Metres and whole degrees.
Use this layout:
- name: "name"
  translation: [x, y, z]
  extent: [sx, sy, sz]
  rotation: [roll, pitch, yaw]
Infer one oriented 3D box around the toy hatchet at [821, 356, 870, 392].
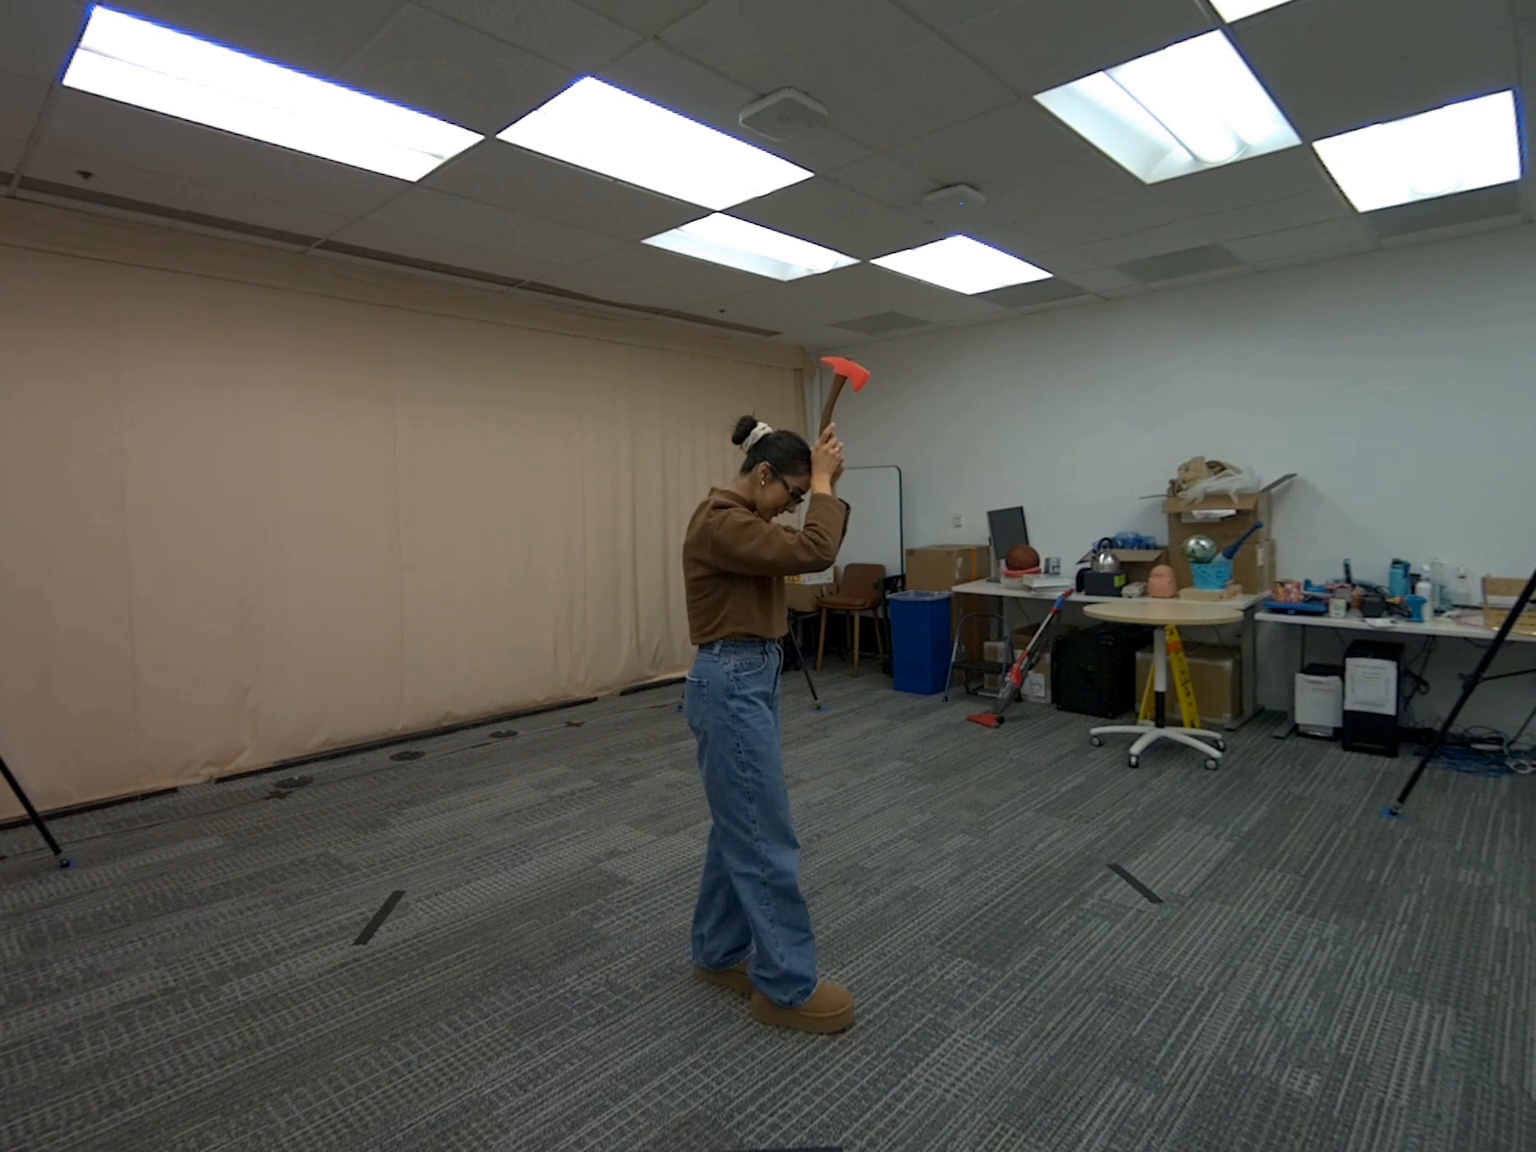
- name: "toy hatchet"
  translation: [0.209, -0.453, 2.237]
  extent: [0.132, 0.268, 0.029]
  rotation: [5, 10, 8]
